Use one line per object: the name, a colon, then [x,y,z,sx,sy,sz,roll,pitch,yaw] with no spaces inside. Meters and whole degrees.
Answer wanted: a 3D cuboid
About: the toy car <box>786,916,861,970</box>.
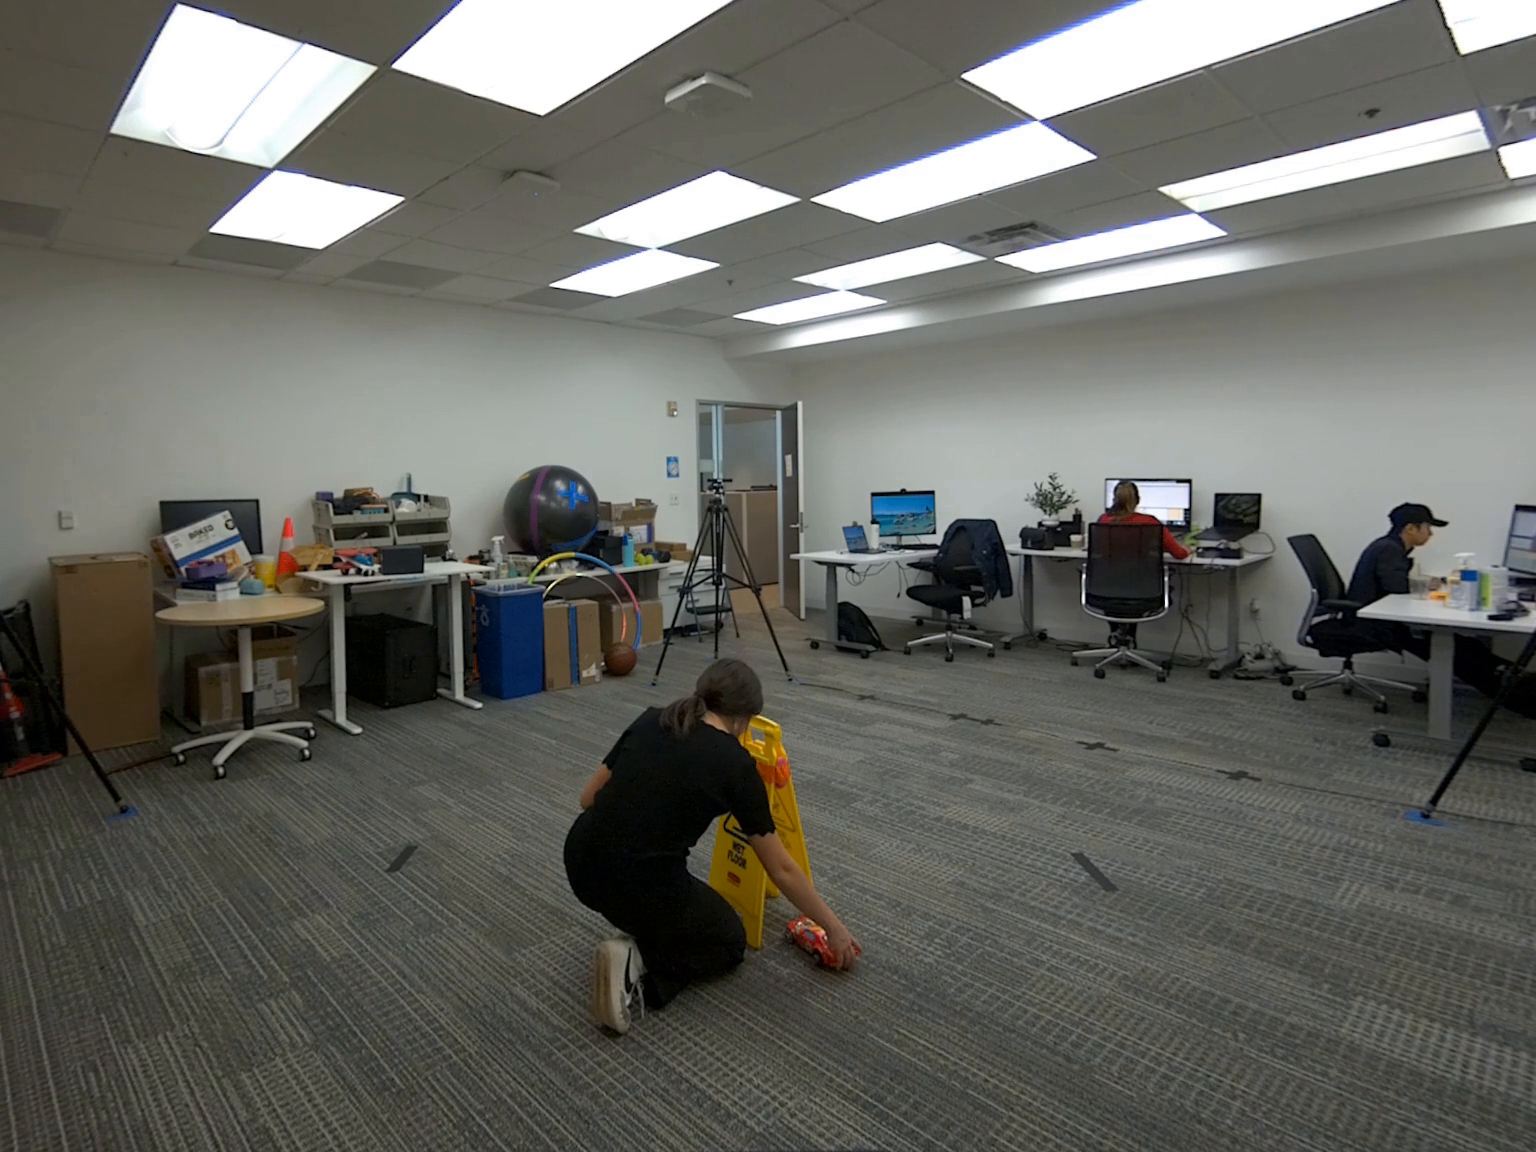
toy car: [0.154,1.075,2.516,0.127,0.083,0.259,-7,-1,-30]
